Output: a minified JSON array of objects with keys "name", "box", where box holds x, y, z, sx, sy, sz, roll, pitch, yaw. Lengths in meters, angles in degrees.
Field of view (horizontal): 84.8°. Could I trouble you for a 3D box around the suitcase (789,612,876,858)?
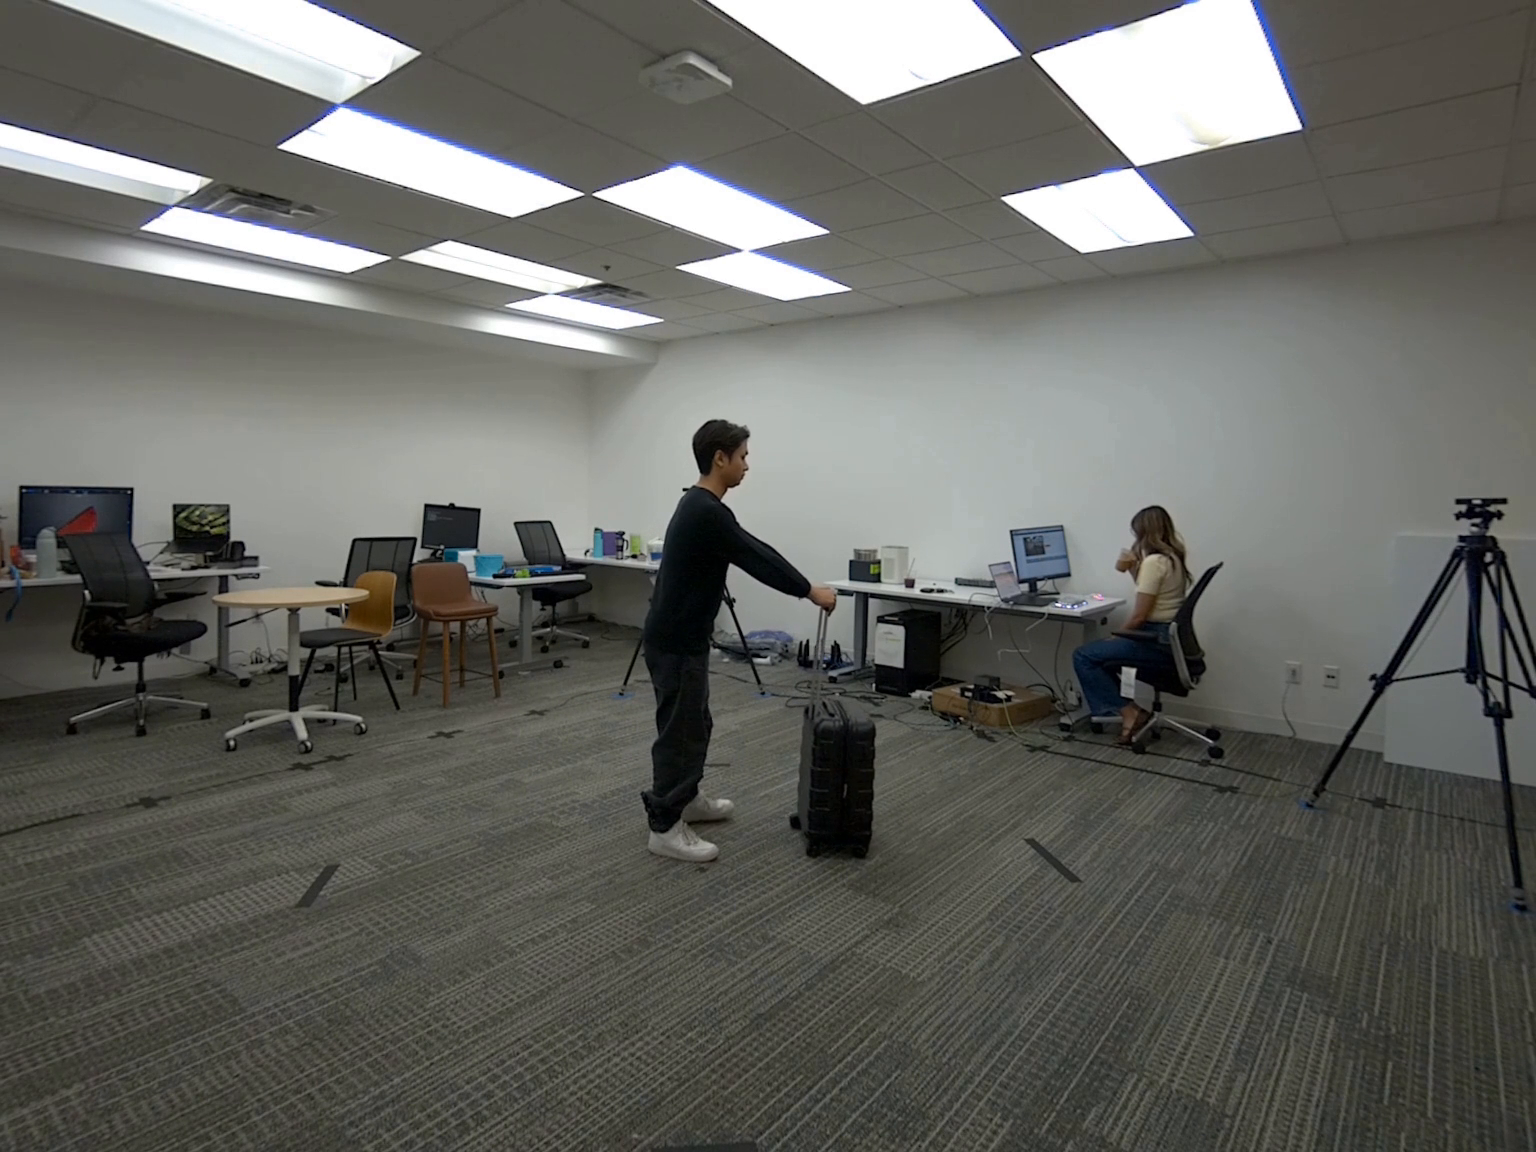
[{"name":"suitcase","box":[0.281,0.584,3.355,0.256,0.976,0.387,6,3,-5]}]
